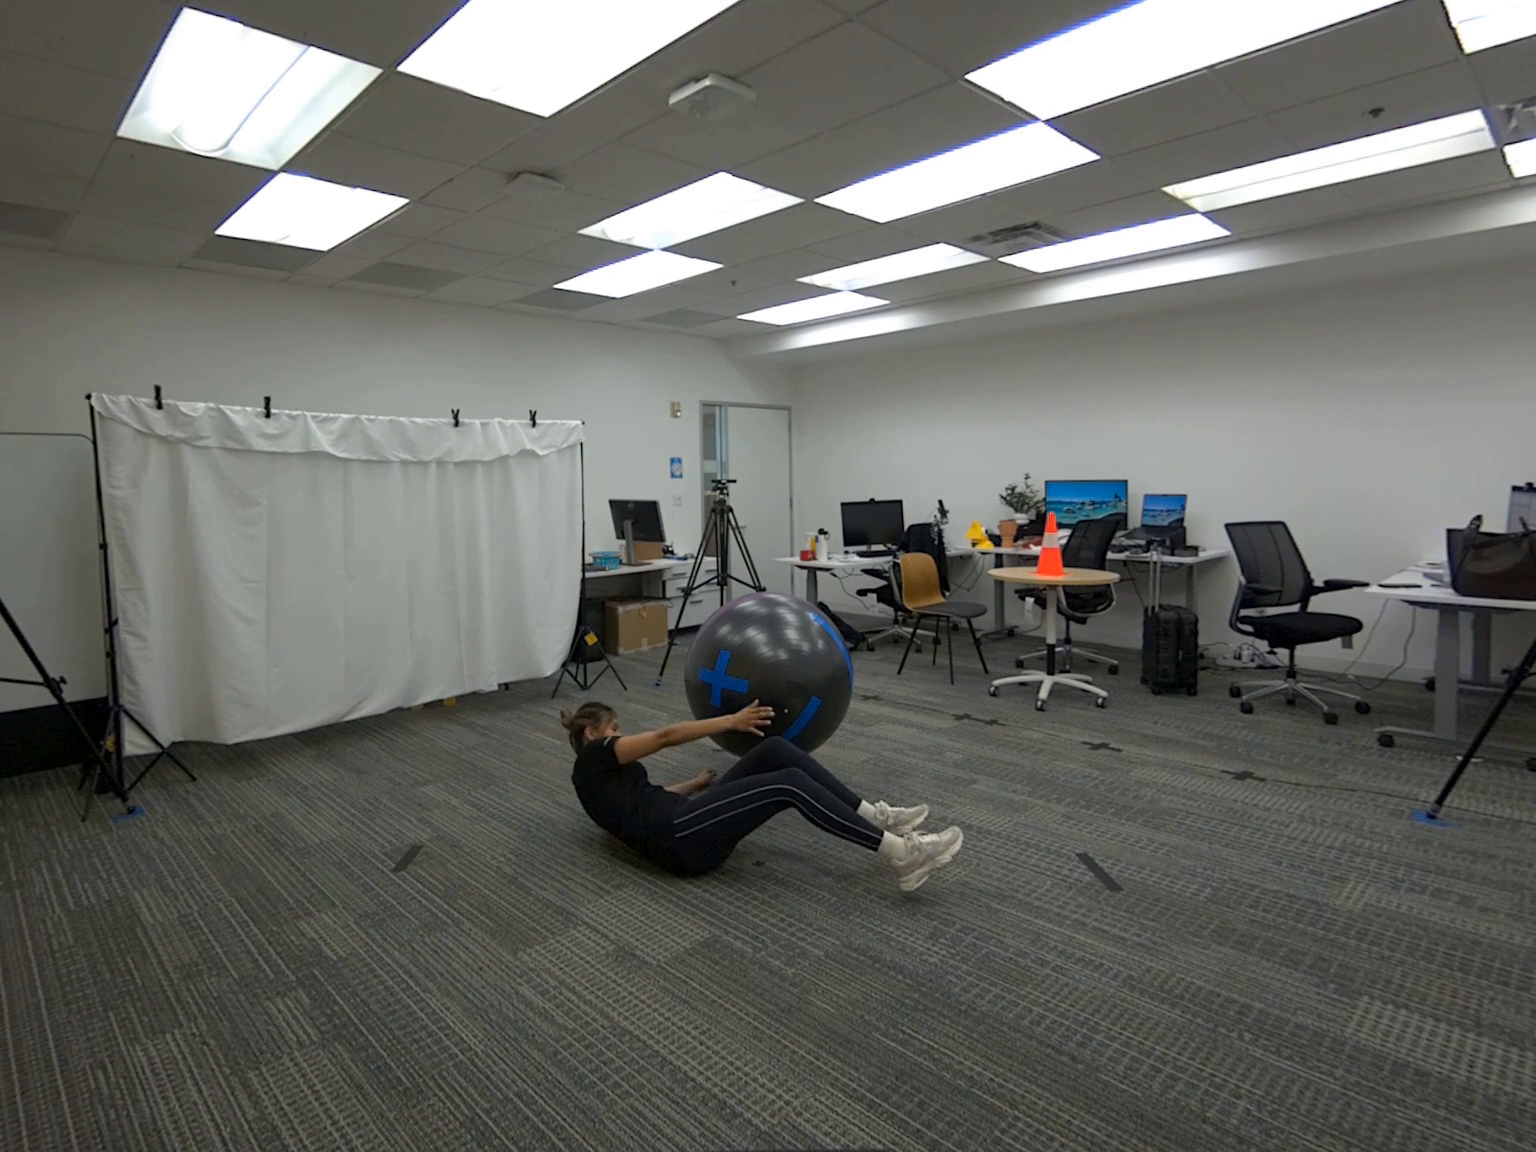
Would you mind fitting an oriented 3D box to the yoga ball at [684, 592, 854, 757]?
[{"bbox_3d":[0.001,0.455,3.852,0.757,0.755,0.762,-1,5,-2],"label":"yoga ball"}]
